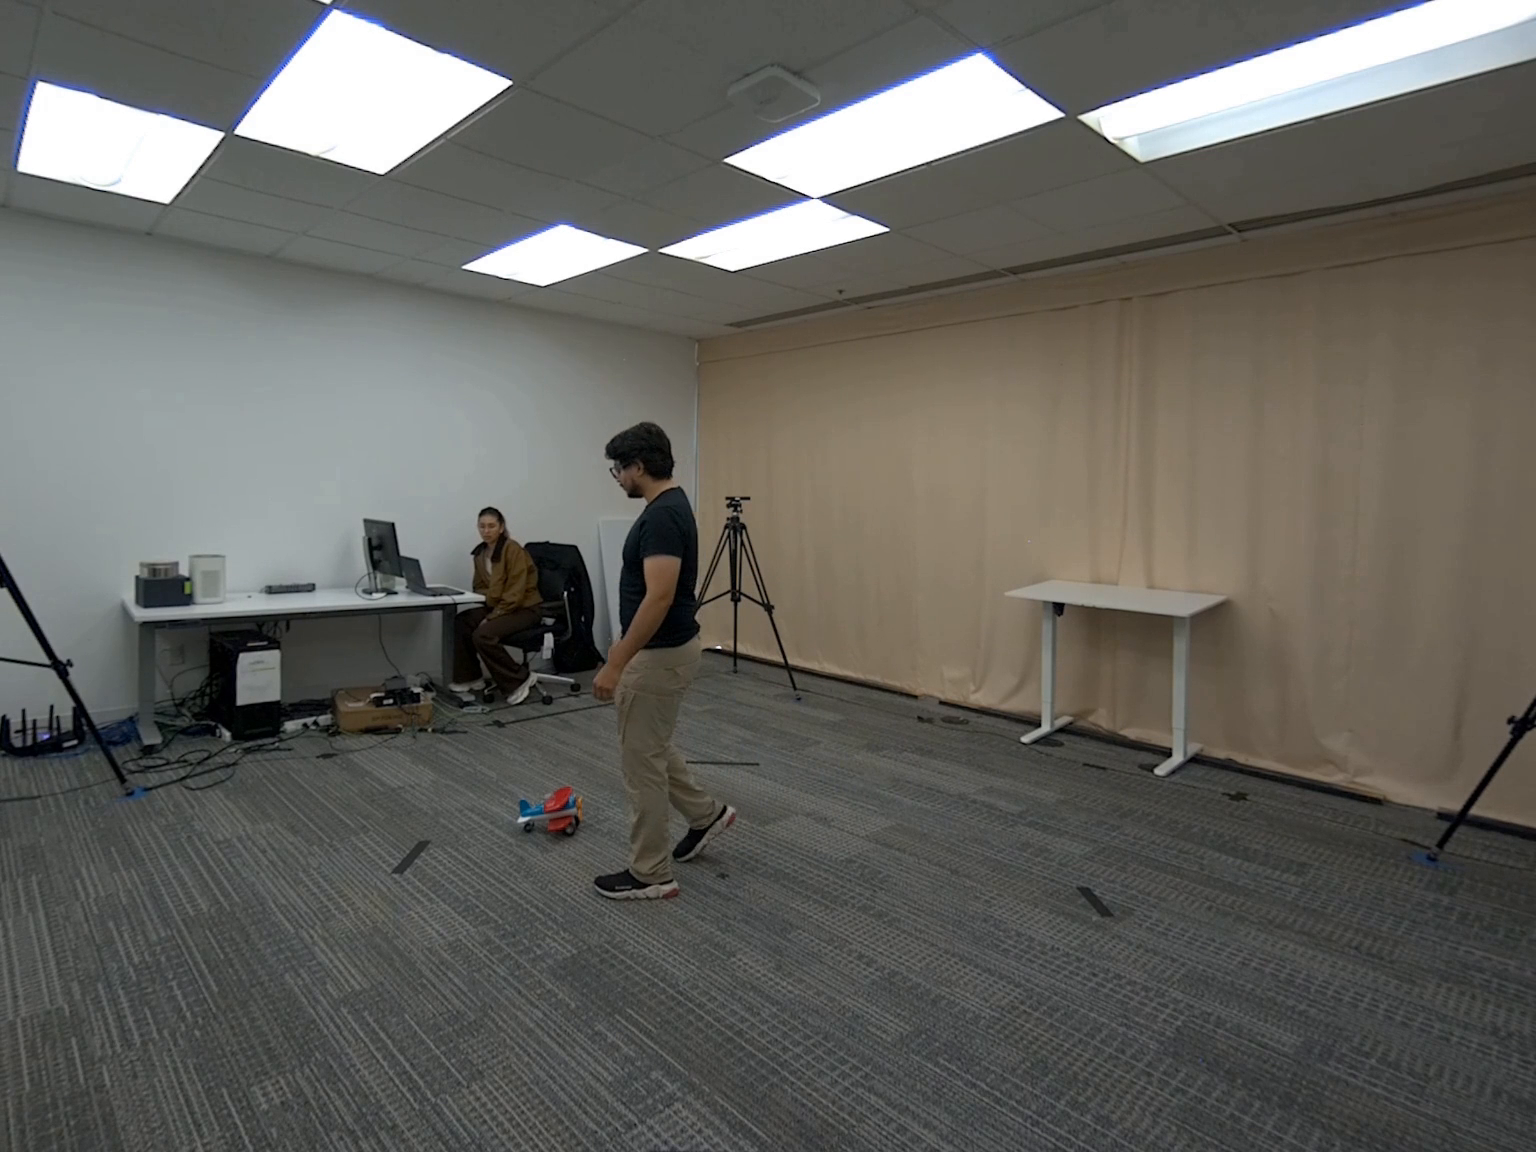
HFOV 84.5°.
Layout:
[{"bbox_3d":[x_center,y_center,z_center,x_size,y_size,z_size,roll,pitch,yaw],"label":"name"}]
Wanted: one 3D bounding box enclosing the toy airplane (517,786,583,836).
[{"bbox_3d":[-0.901,0.980,3.464,0.254,0.156,0.257,1,4,-28],"label":"toy airplane"}]
